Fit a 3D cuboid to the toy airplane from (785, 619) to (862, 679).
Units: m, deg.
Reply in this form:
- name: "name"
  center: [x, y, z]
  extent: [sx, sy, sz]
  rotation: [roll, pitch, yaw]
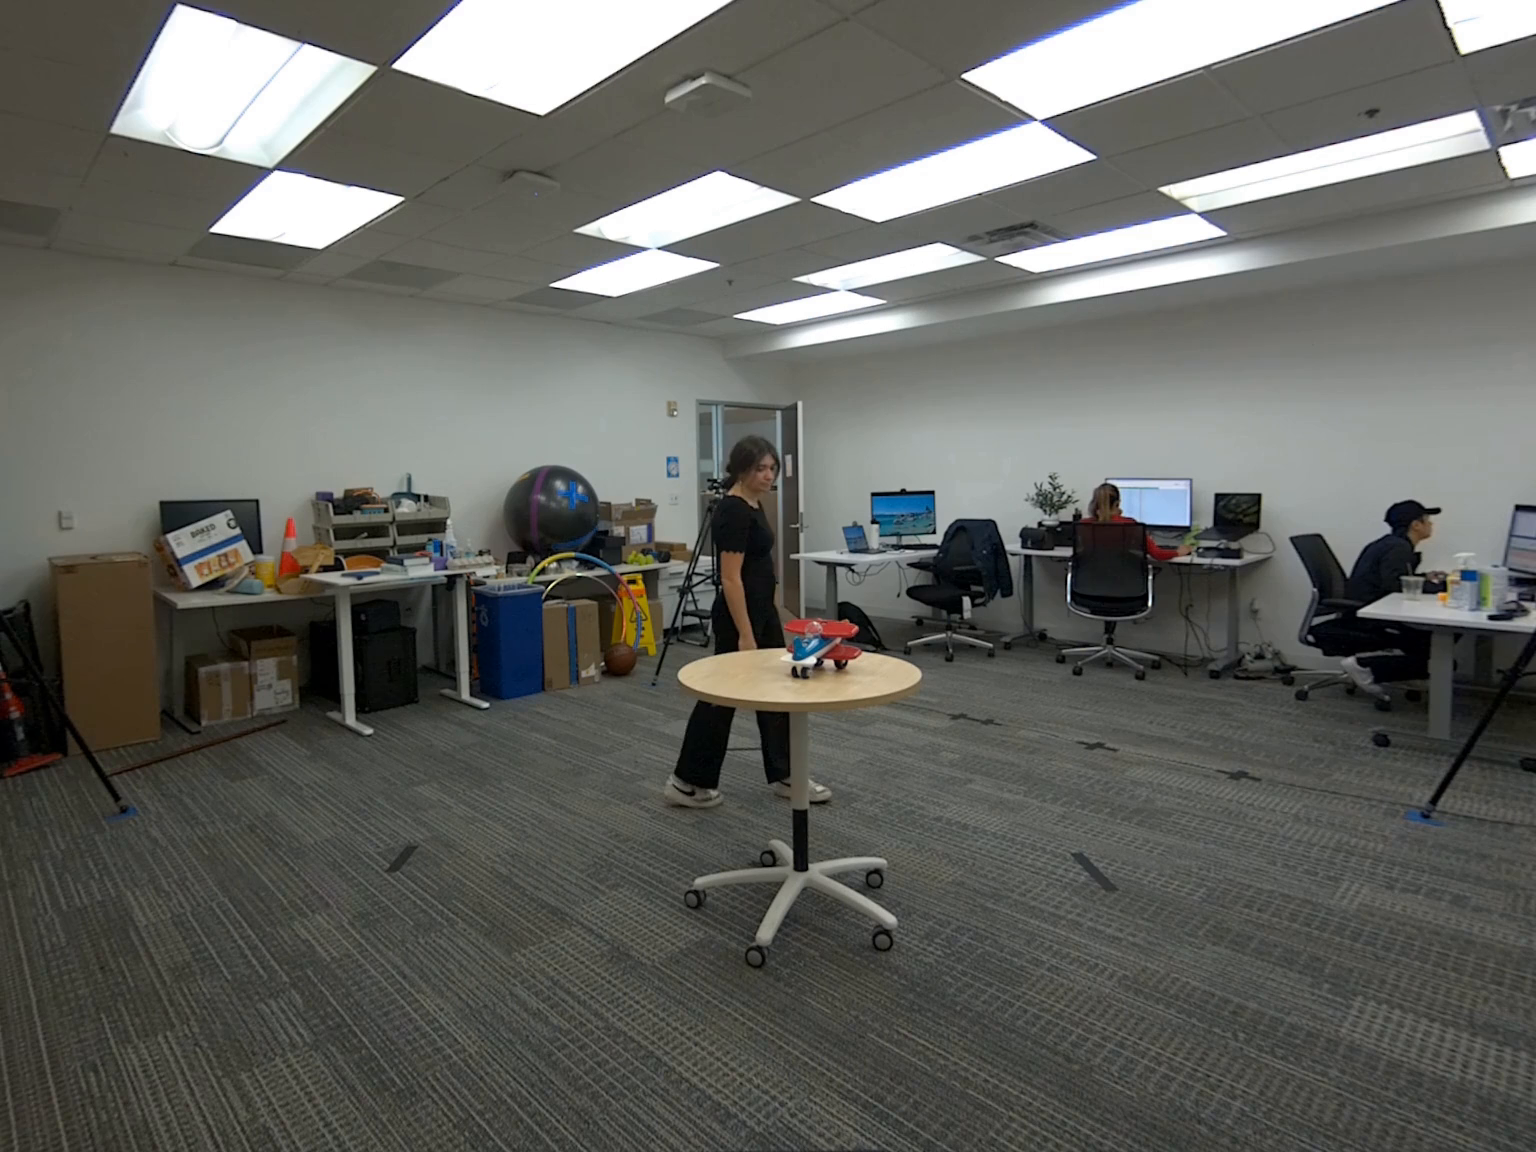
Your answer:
- name: "toy airplane"
  center: [0.175, 0.227, 2.686]
  extent: [0.253, 0.156, 0.258]
  rotation: [-1, 5, 6]
